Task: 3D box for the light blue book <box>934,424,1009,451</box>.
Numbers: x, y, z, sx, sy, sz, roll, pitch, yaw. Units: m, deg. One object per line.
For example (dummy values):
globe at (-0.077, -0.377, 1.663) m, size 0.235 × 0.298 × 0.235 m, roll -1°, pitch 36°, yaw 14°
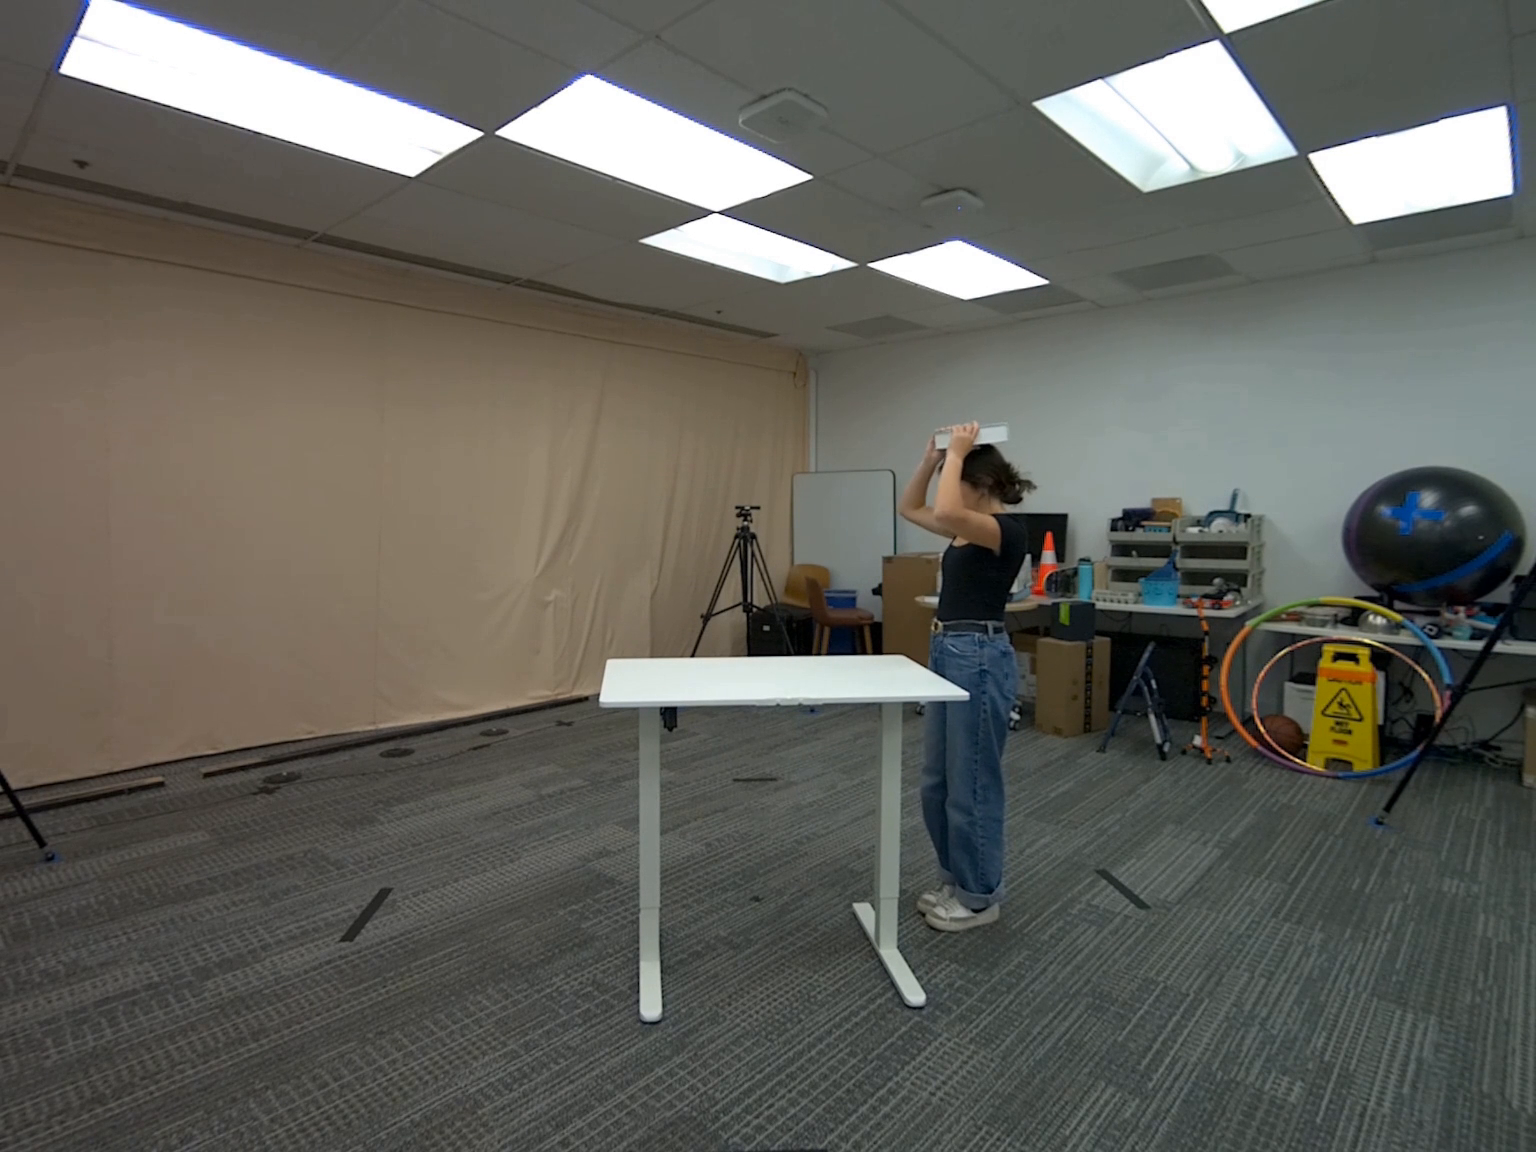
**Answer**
light blue book at (0.671, -0.461, 2.776) m, size 0.192 × 0.059 × 0.261 m, roll -5°, pitch 7°, yaw 1°
